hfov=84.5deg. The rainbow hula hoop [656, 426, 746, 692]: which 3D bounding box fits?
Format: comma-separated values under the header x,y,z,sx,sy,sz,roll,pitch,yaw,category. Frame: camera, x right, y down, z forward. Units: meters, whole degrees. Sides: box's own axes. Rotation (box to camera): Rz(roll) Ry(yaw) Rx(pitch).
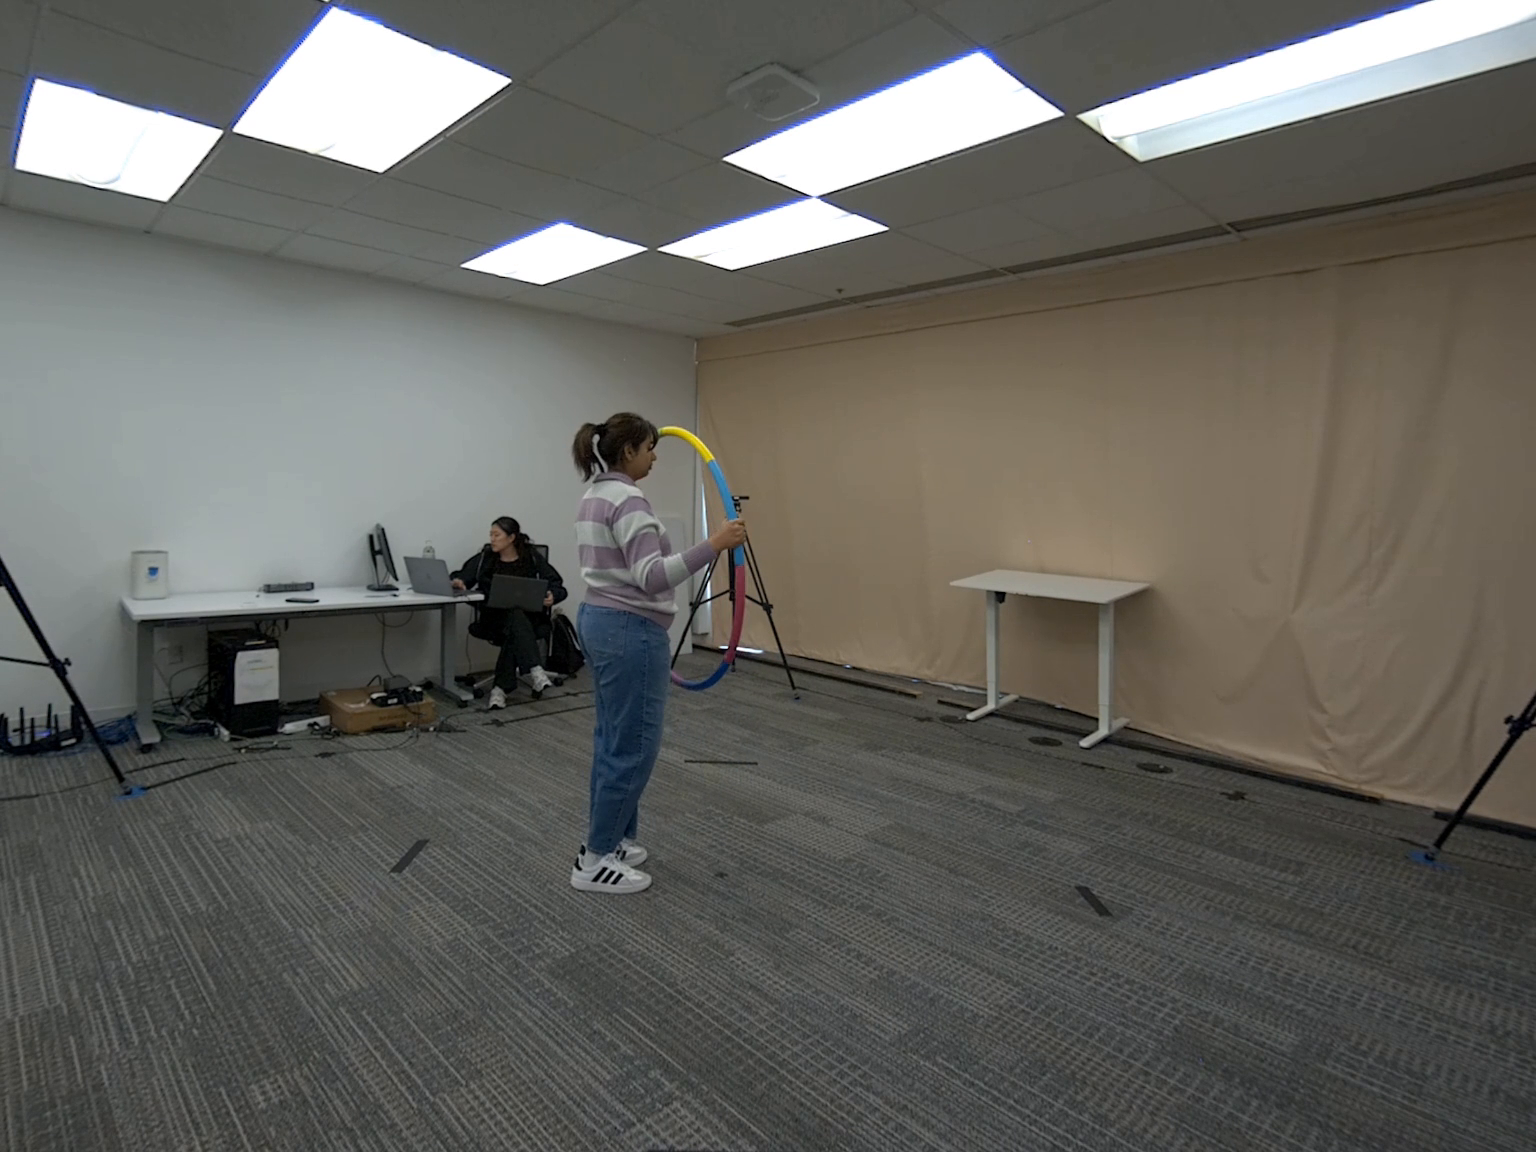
x,y,z,sx,sy,sz,roll,pitch,yaw,category
-0.359,-0.062,3.173,0.035,0.974,1.001,-6,8,-31,rainbow hula hoop
